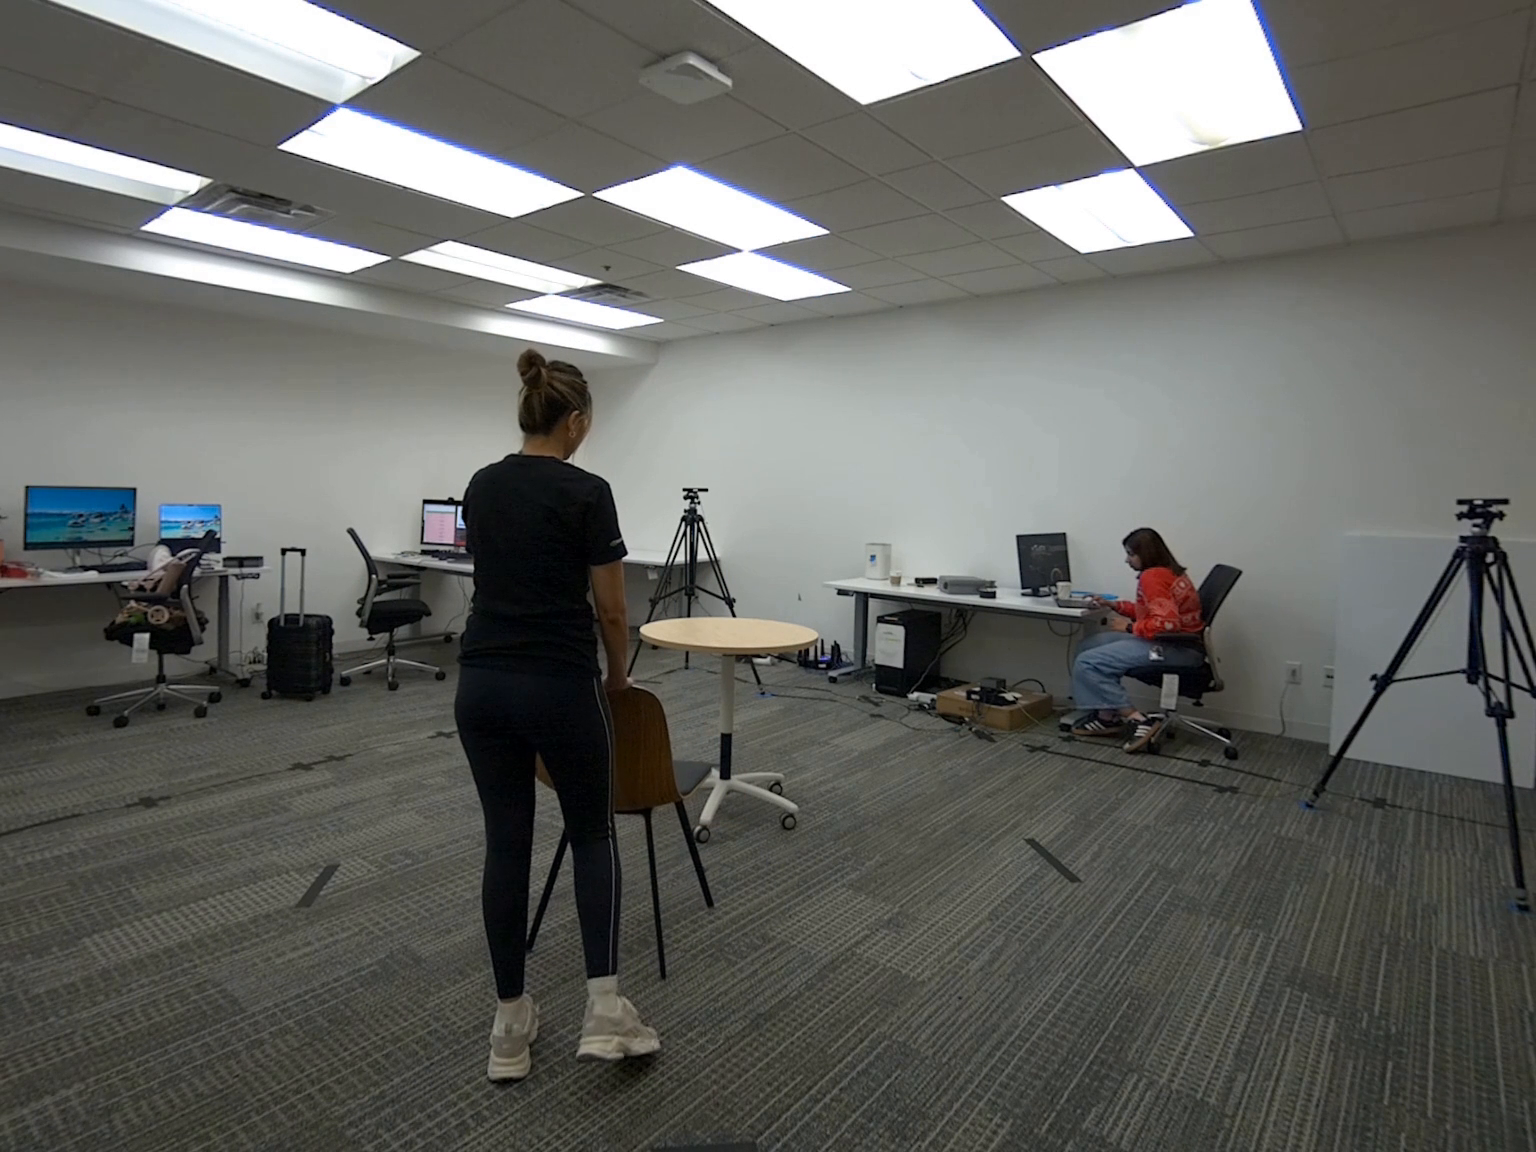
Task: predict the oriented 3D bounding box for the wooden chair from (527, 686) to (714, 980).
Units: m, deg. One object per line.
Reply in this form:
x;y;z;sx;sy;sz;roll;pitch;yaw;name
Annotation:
-0.450;0.681;2.665;0.487;0.871;0.517;2;8;16;wooden chair
